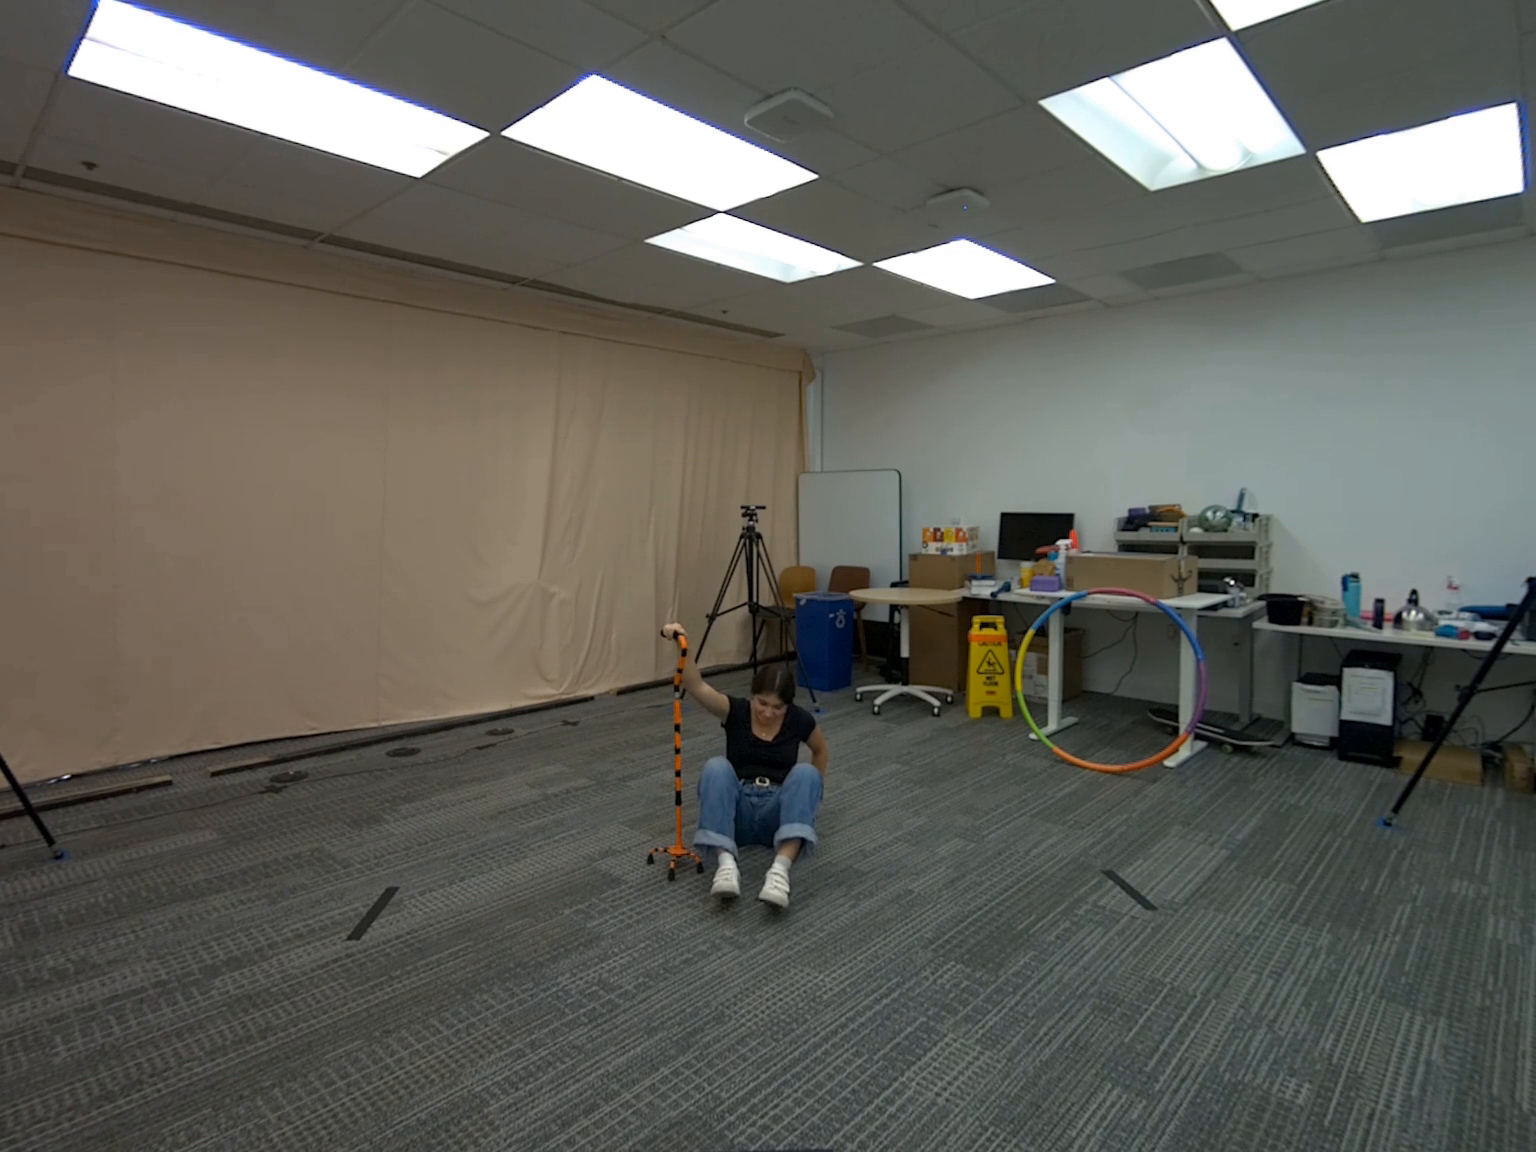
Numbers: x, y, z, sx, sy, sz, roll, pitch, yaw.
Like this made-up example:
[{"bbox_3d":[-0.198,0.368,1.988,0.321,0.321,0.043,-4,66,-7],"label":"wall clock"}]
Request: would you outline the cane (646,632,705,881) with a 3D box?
[{"bbox_3d":[-0.358,0.667,3.242,0.147,0.907,0.212,0,1,-34],"label":"cane"}]
